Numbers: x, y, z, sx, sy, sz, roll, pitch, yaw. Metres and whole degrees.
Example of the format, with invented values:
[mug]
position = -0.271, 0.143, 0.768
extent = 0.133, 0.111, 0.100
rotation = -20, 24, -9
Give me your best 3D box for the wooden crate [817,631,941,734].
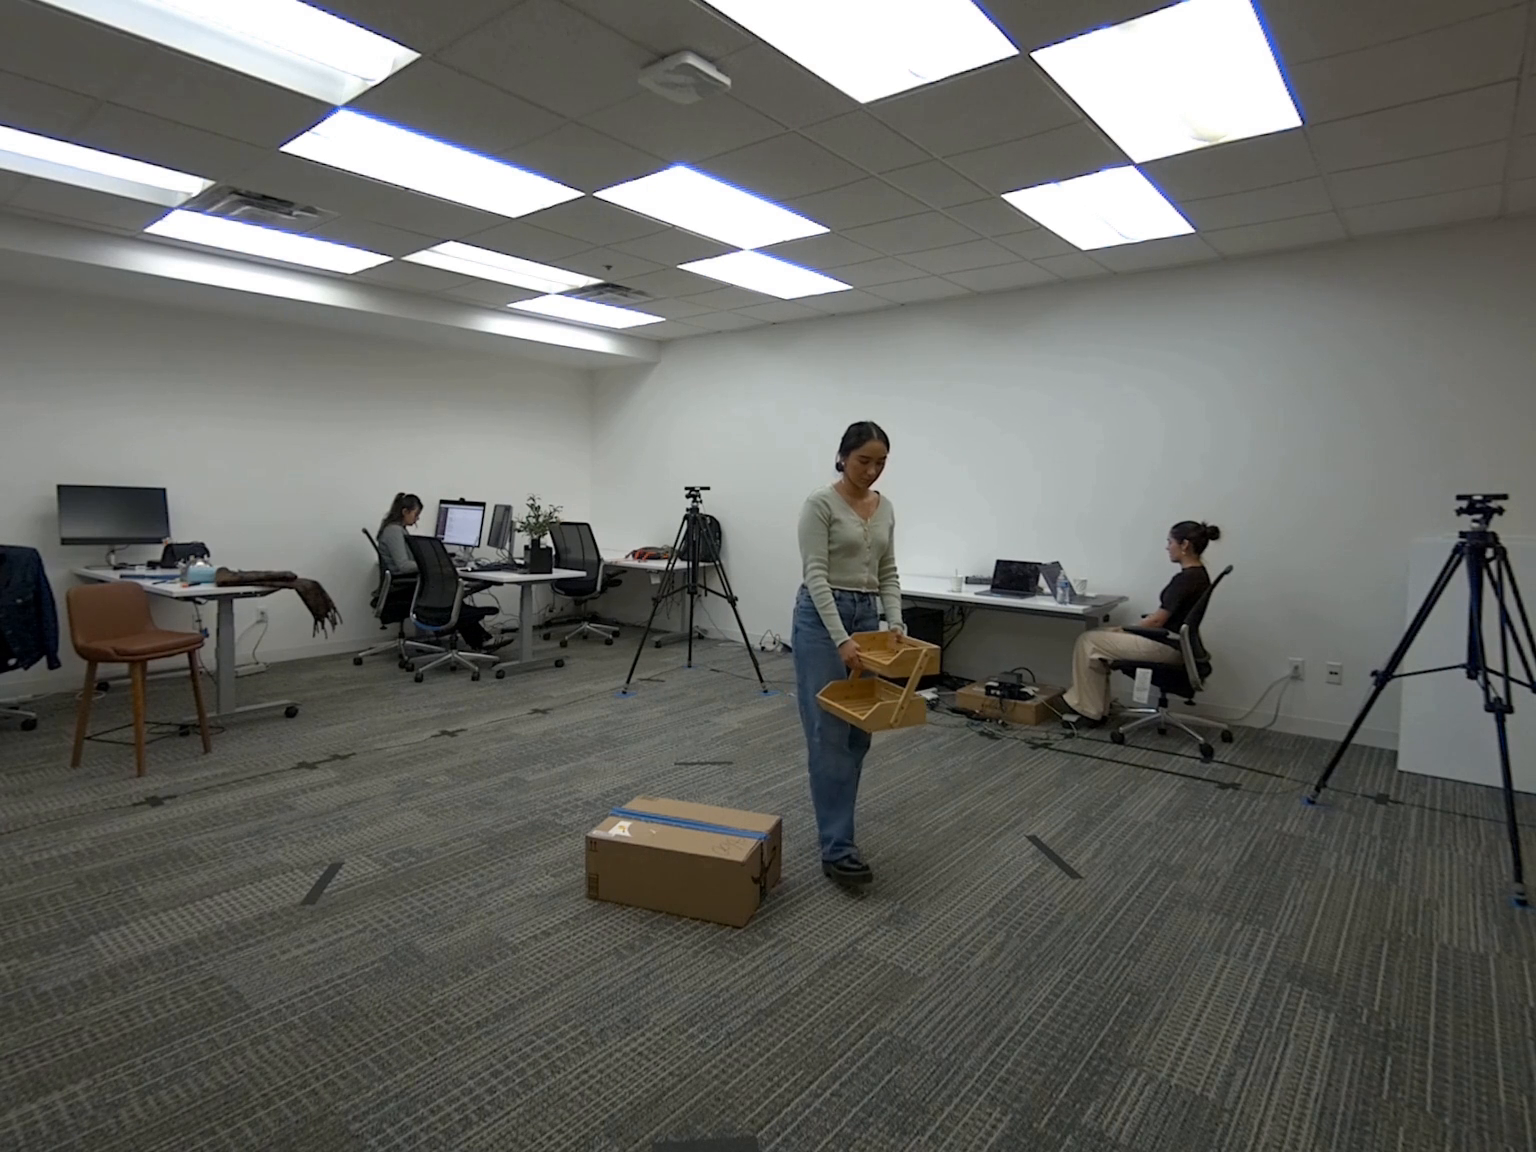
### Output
[wooden crate]
position = 0.366, 0.346, 2.934
extent = 0.295, 0.272, 0.334
rotation = -2, 7, -26
